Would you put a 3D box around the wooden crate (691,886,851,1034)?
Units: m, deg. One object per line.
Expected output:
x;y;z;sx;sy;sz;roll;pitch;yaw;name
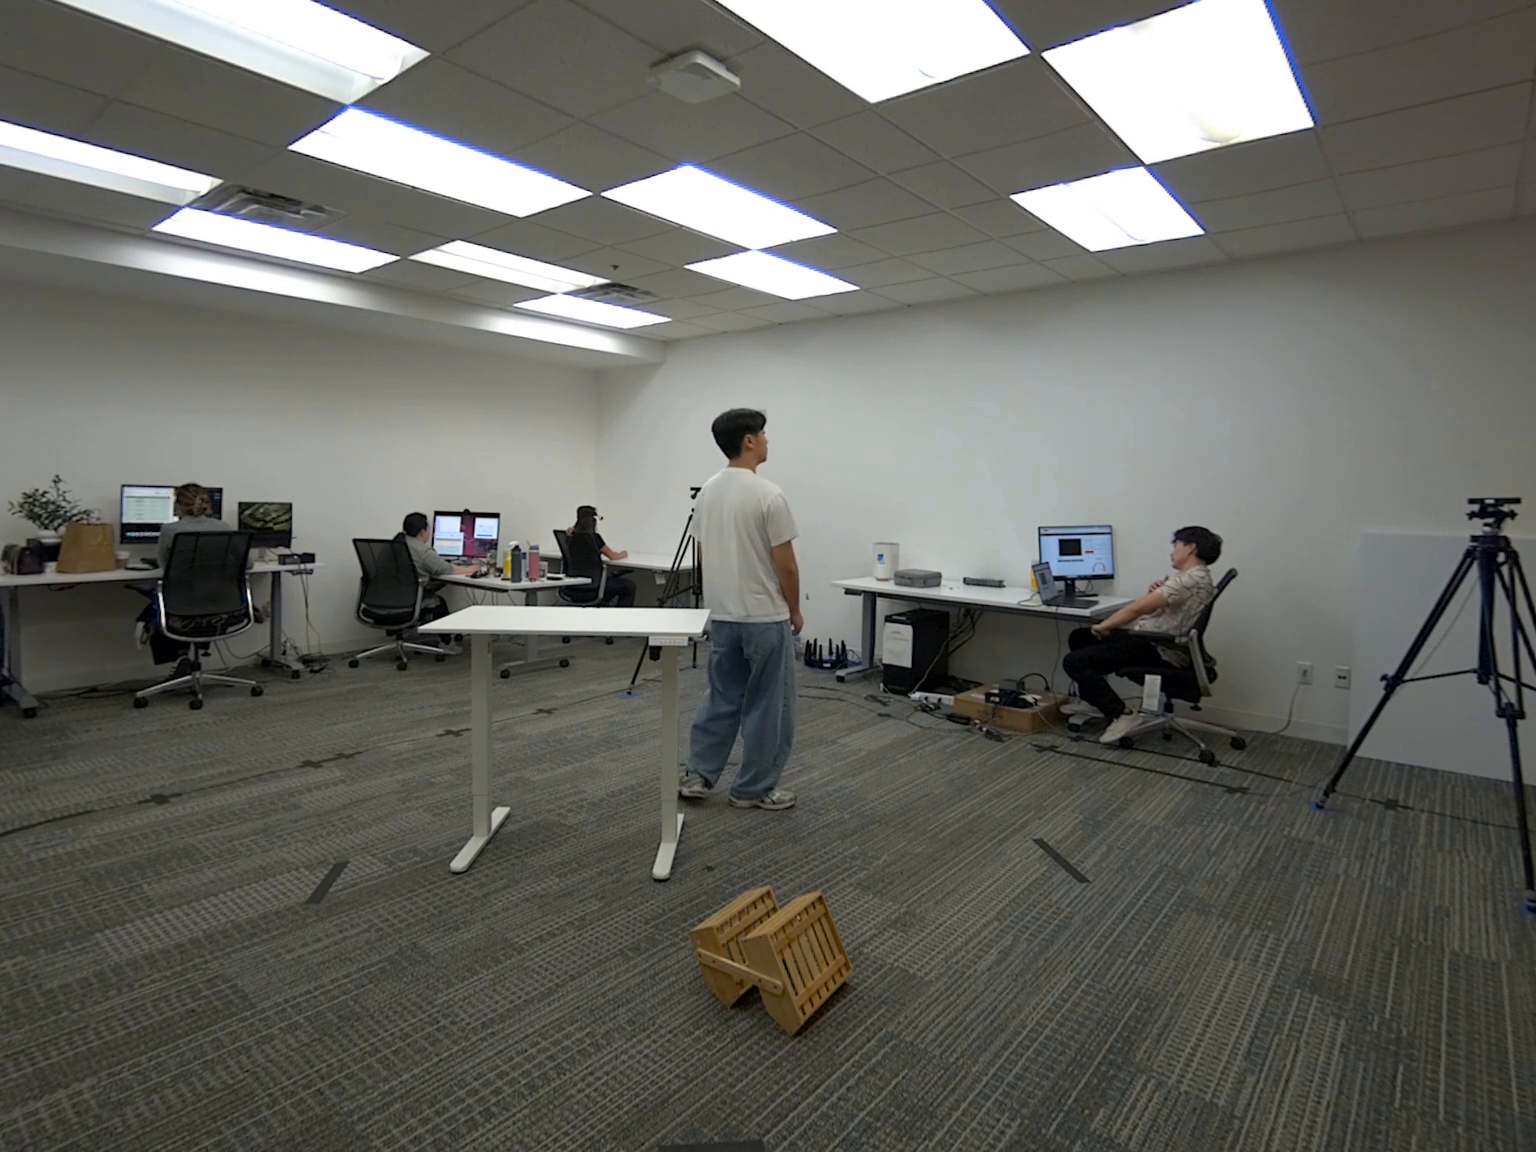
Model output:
0.003;1.055;2.369;0.276;0.307;0.315;-29;-13;31;wooden crate
